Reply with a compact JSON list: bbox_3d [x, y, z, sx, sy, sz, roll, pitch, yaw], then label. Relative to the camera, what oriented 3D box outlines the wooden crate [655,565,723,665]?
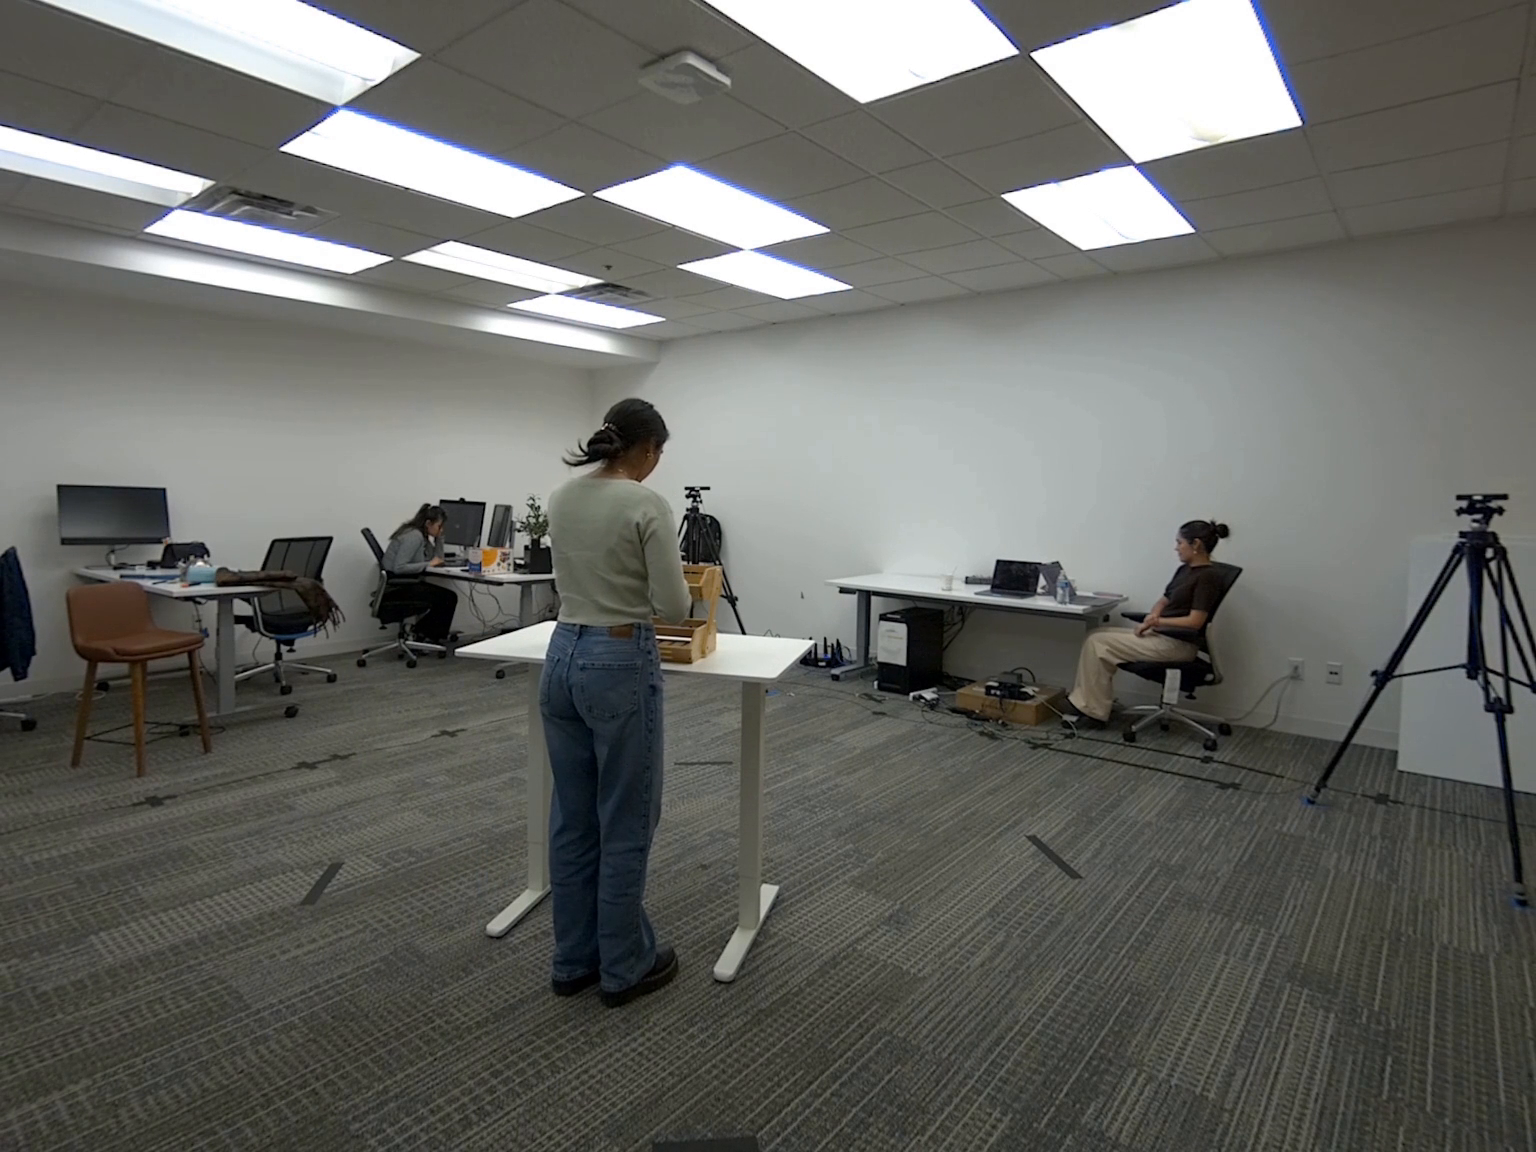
[{"bbox_3d":[-0.336,0.101,2.613,0.330,0.272,0.298,2,5,14],"label":"wooden crate"}]
